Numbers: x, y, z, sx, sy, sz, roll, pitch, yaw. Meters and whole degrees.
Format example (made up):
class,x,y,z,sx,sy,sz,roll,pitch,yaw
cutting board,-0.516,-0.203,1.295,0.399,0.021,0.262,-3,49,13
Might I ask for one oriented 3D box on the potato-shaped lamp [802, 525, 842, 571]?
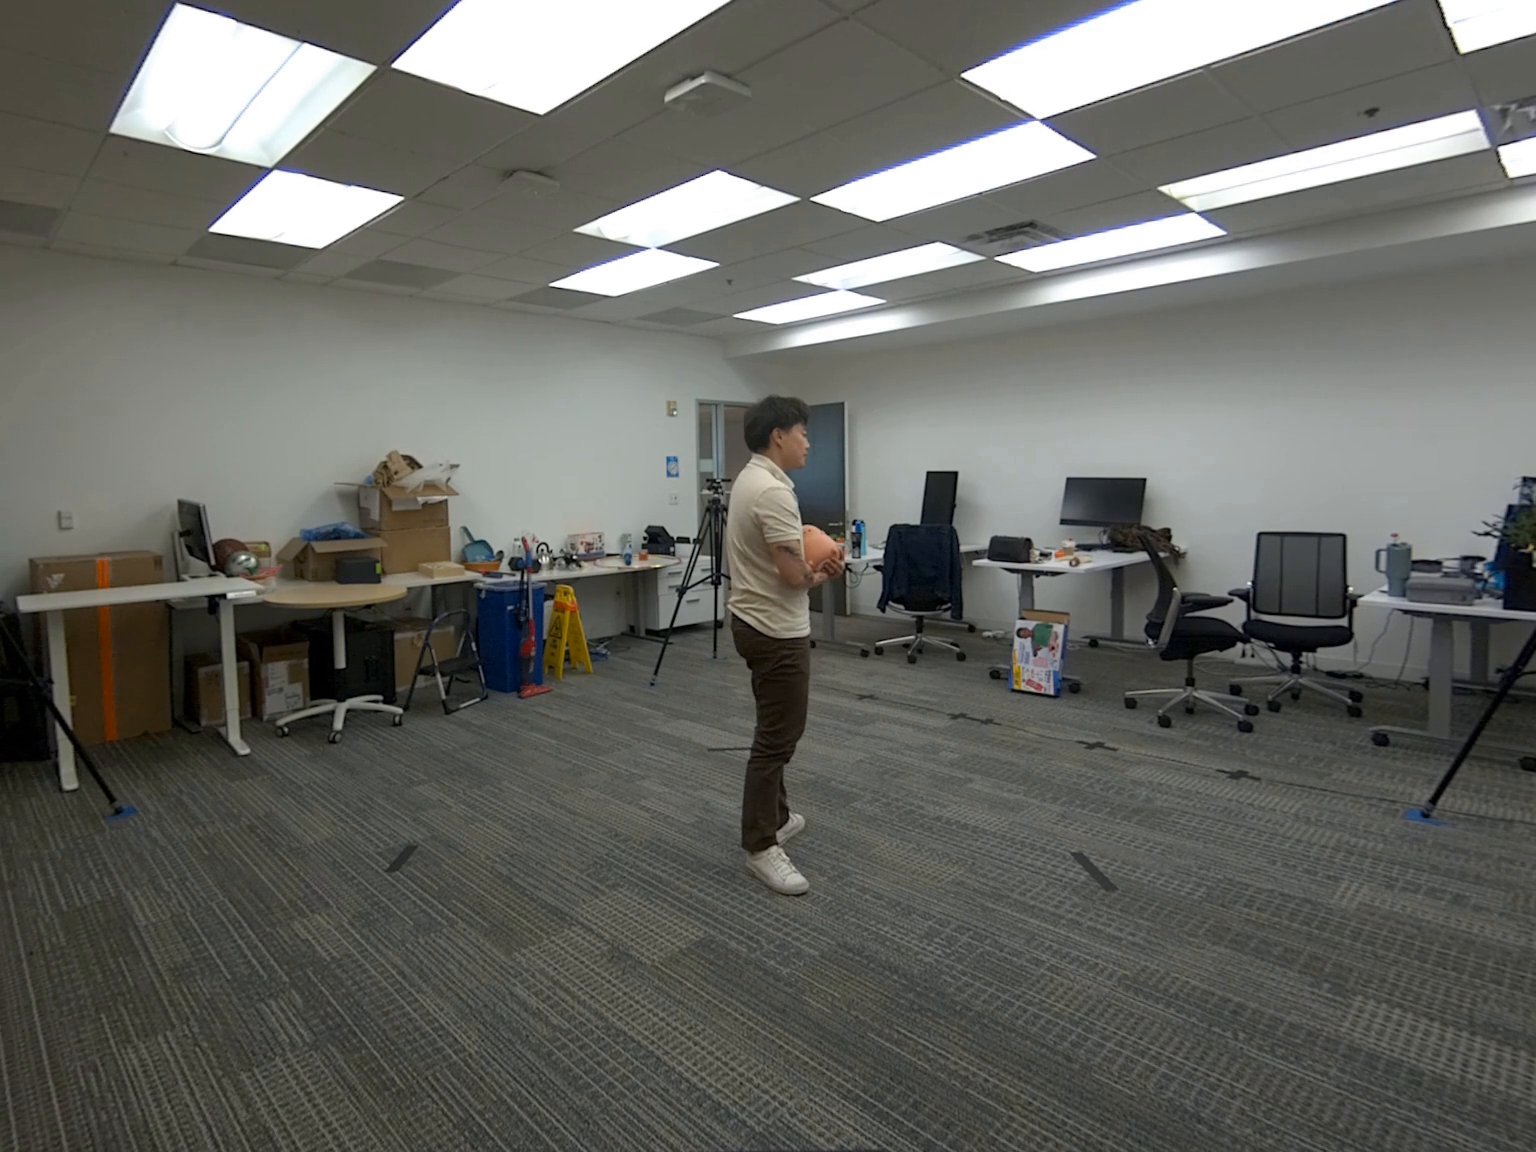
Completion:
class,x,y,z,sx,sy,sz,roll,pitch,yaw
potato-shaped lamp,0.156,-0.099,3.174,0.164,0.205,0.166,-27,-31,-9
